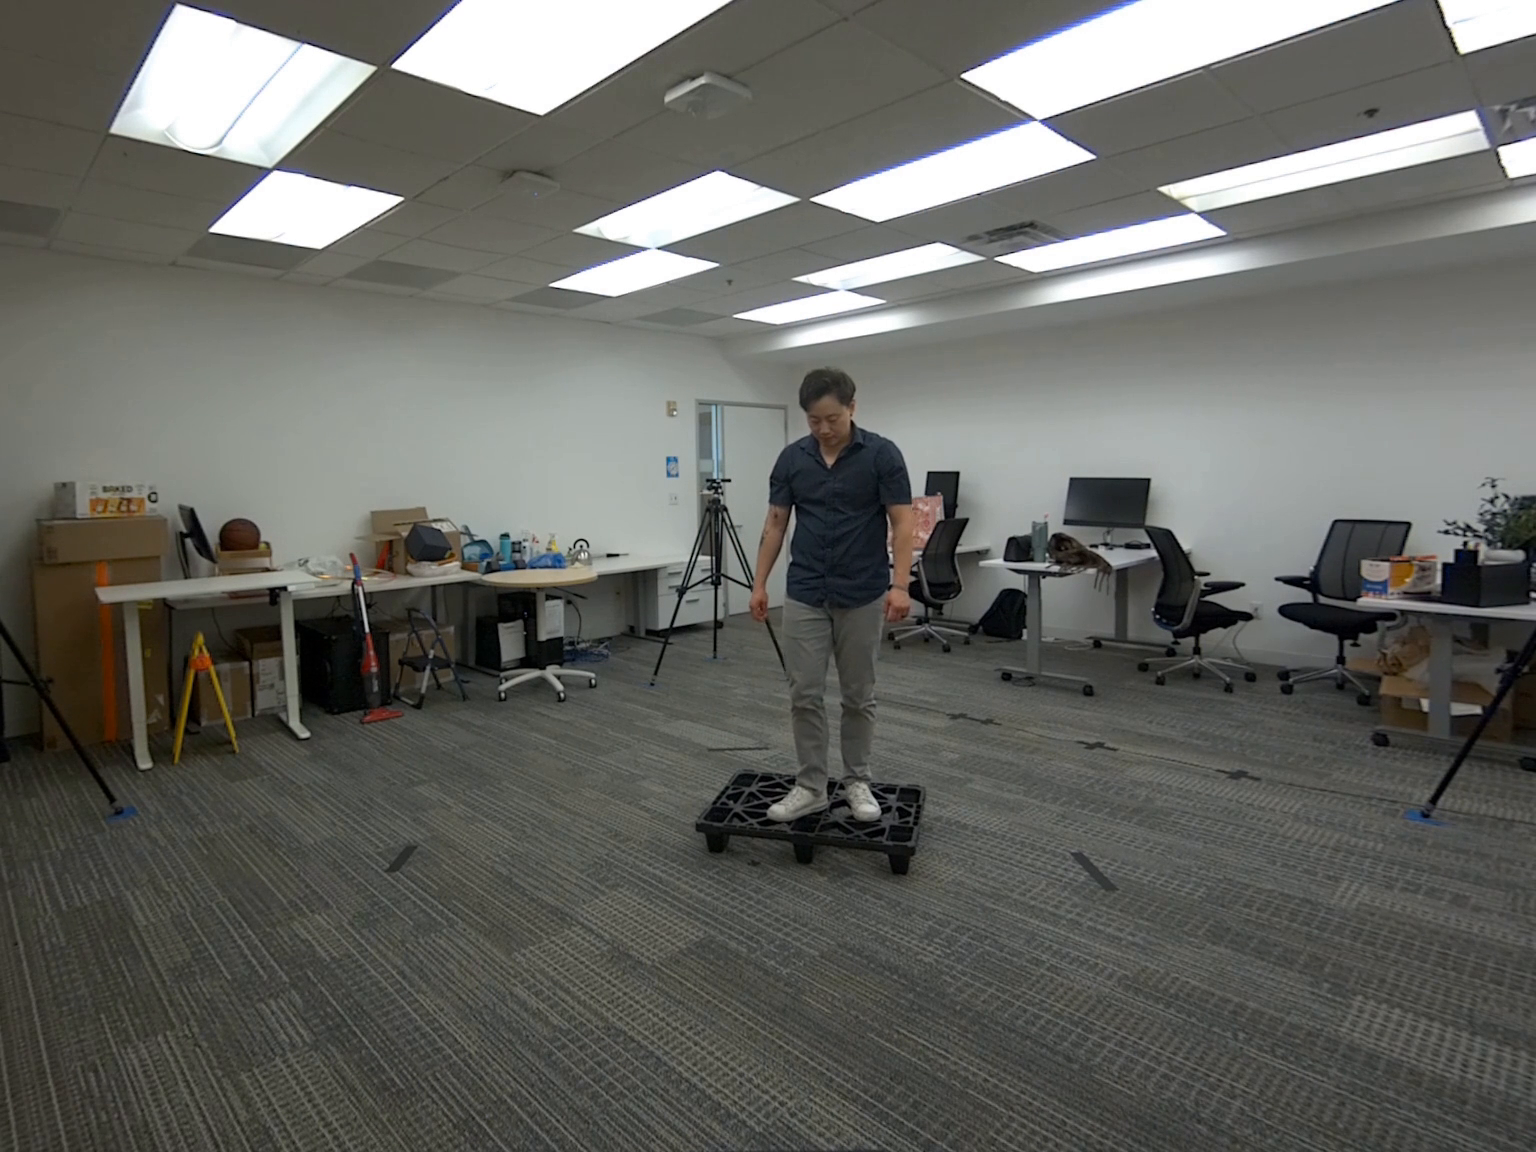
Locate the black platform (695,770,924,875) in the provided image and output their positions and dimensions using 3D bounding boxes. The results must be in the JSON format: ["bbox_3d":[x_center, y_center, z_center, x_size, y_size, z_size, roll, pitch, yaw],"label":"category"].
[{"bbox_3d":[0.185,0.948,3.322,0.819,0.143,0.598,1,6,16],"label":"black platform"}]
